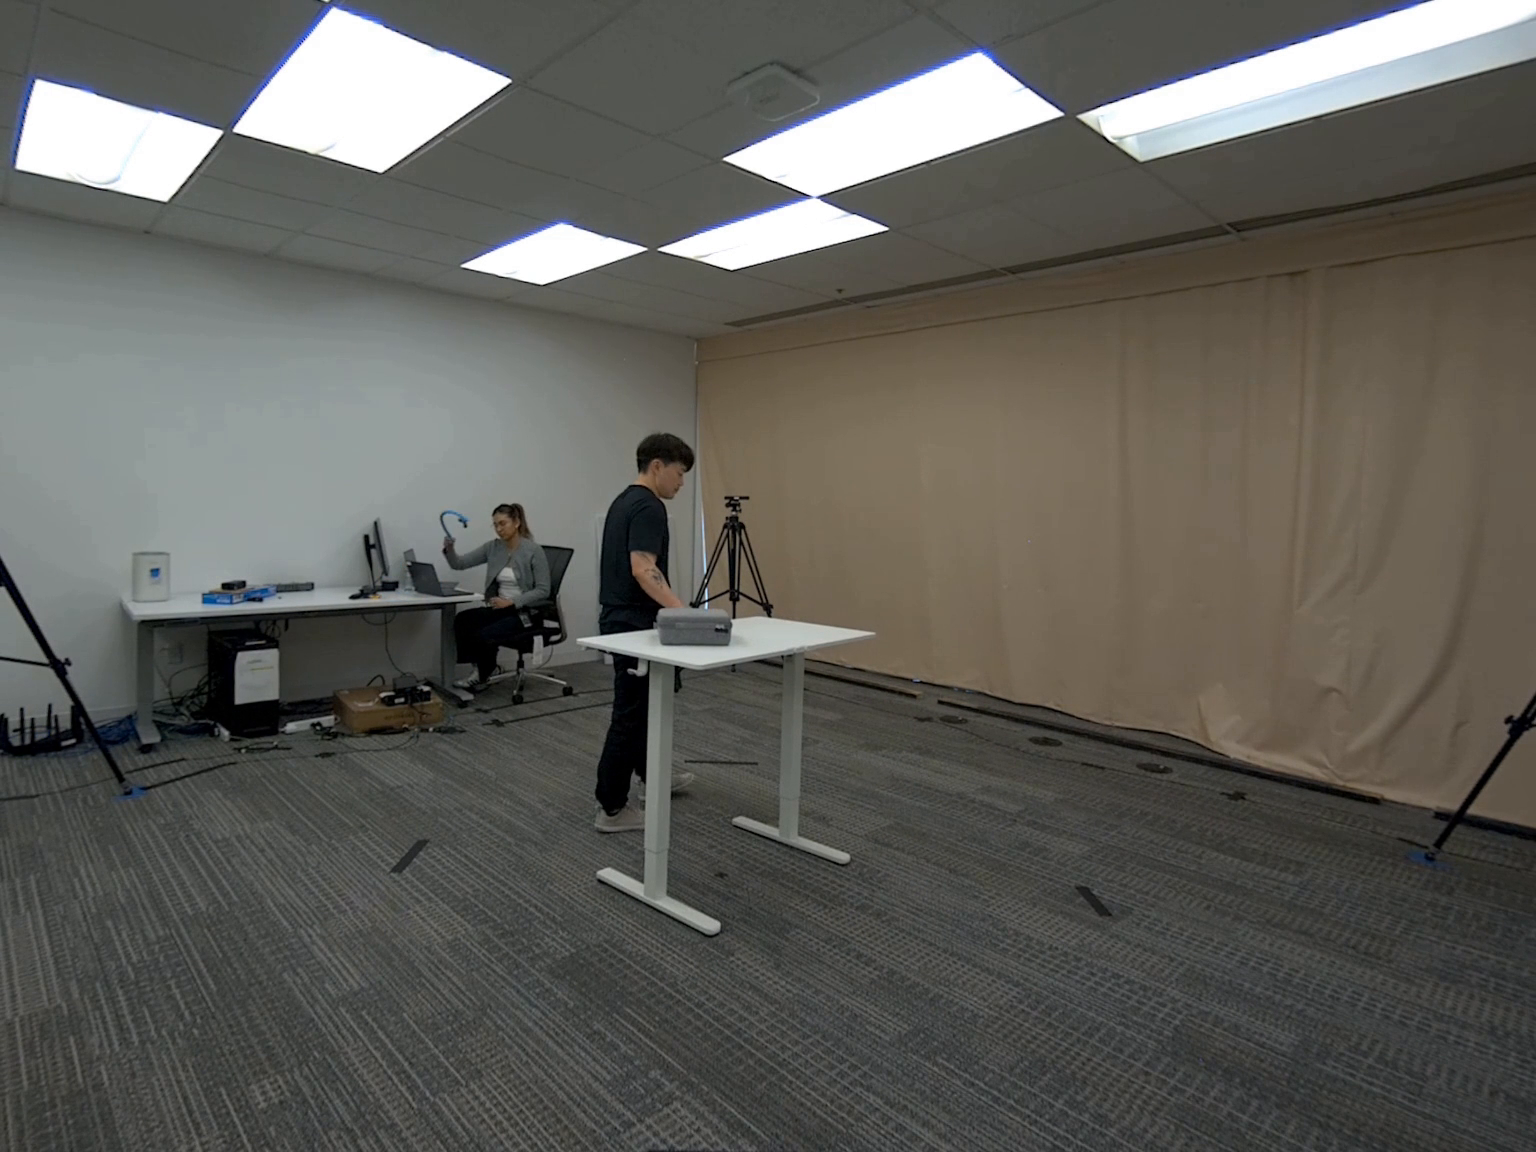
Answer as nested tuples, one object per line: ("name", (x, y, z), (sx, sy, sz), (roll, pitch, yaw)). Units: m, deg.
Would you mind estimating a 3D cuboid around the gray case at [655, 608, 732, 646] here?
("gray case", (-0.270, 0.175, 2.980), (0.255, 0.104, 0.262), (0, 3, -7))
